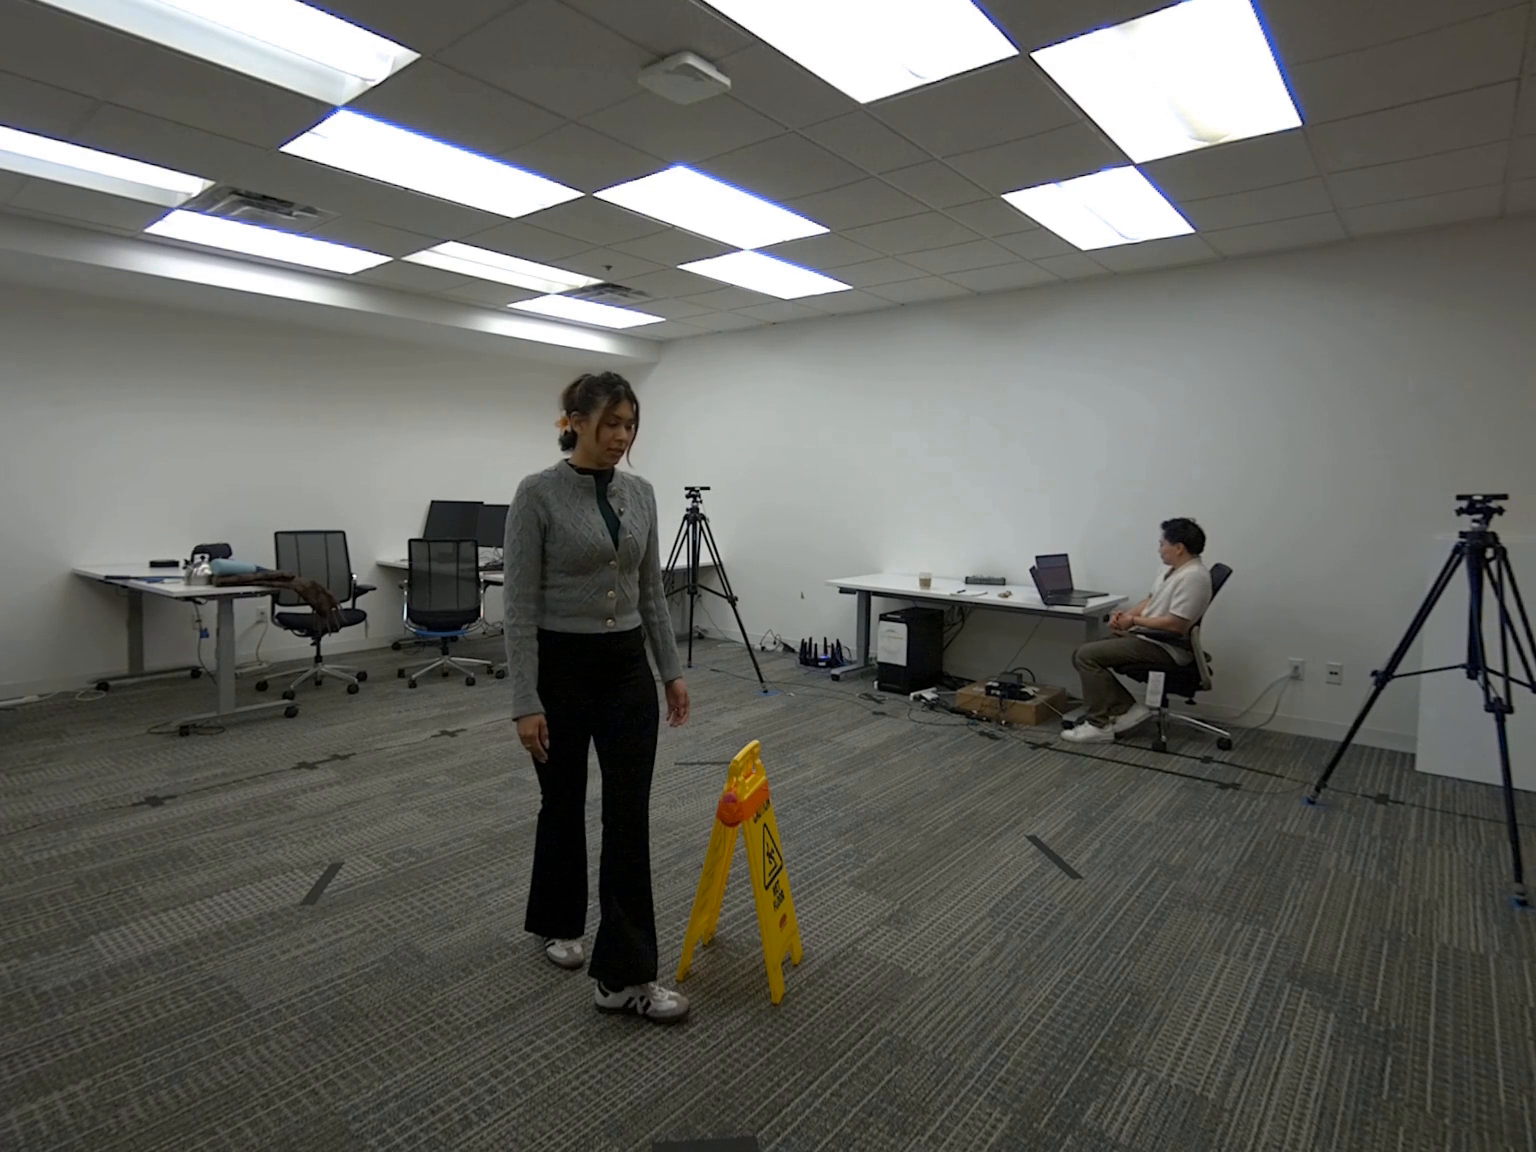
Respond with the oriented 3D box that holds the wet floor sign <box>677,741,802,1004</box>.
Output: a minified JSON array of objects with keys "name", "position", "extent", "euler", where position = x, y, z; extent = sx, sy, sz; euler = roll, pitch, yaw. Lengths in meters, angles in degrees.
[{"name":"wet floor sign","position":[-0.074,0.811,2.447],"extent":[0.295,0.643,0.278],"euler":[3,5,18]}]
